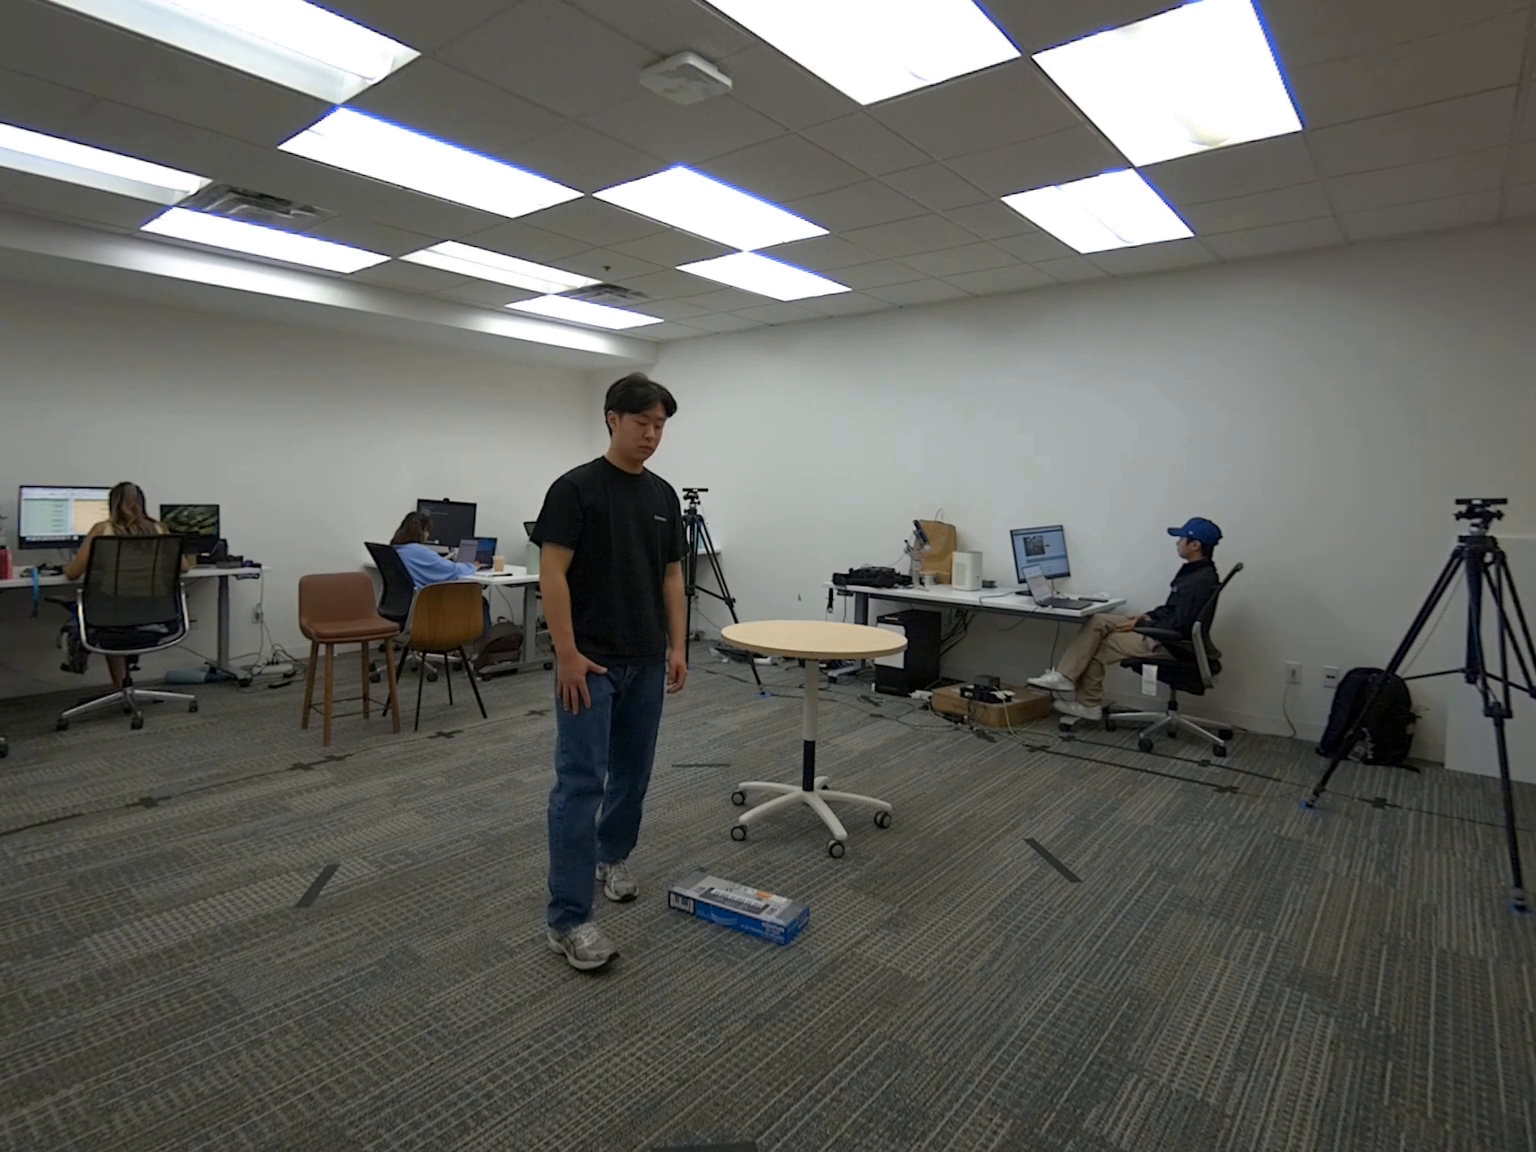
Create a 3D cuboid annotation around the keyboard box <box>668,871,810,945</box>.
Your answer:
[{"bbox_3d":[-0.105,1.075,2.778,0.450,0.059,0.171,4,6,30],"label":"keyboard box"}]
